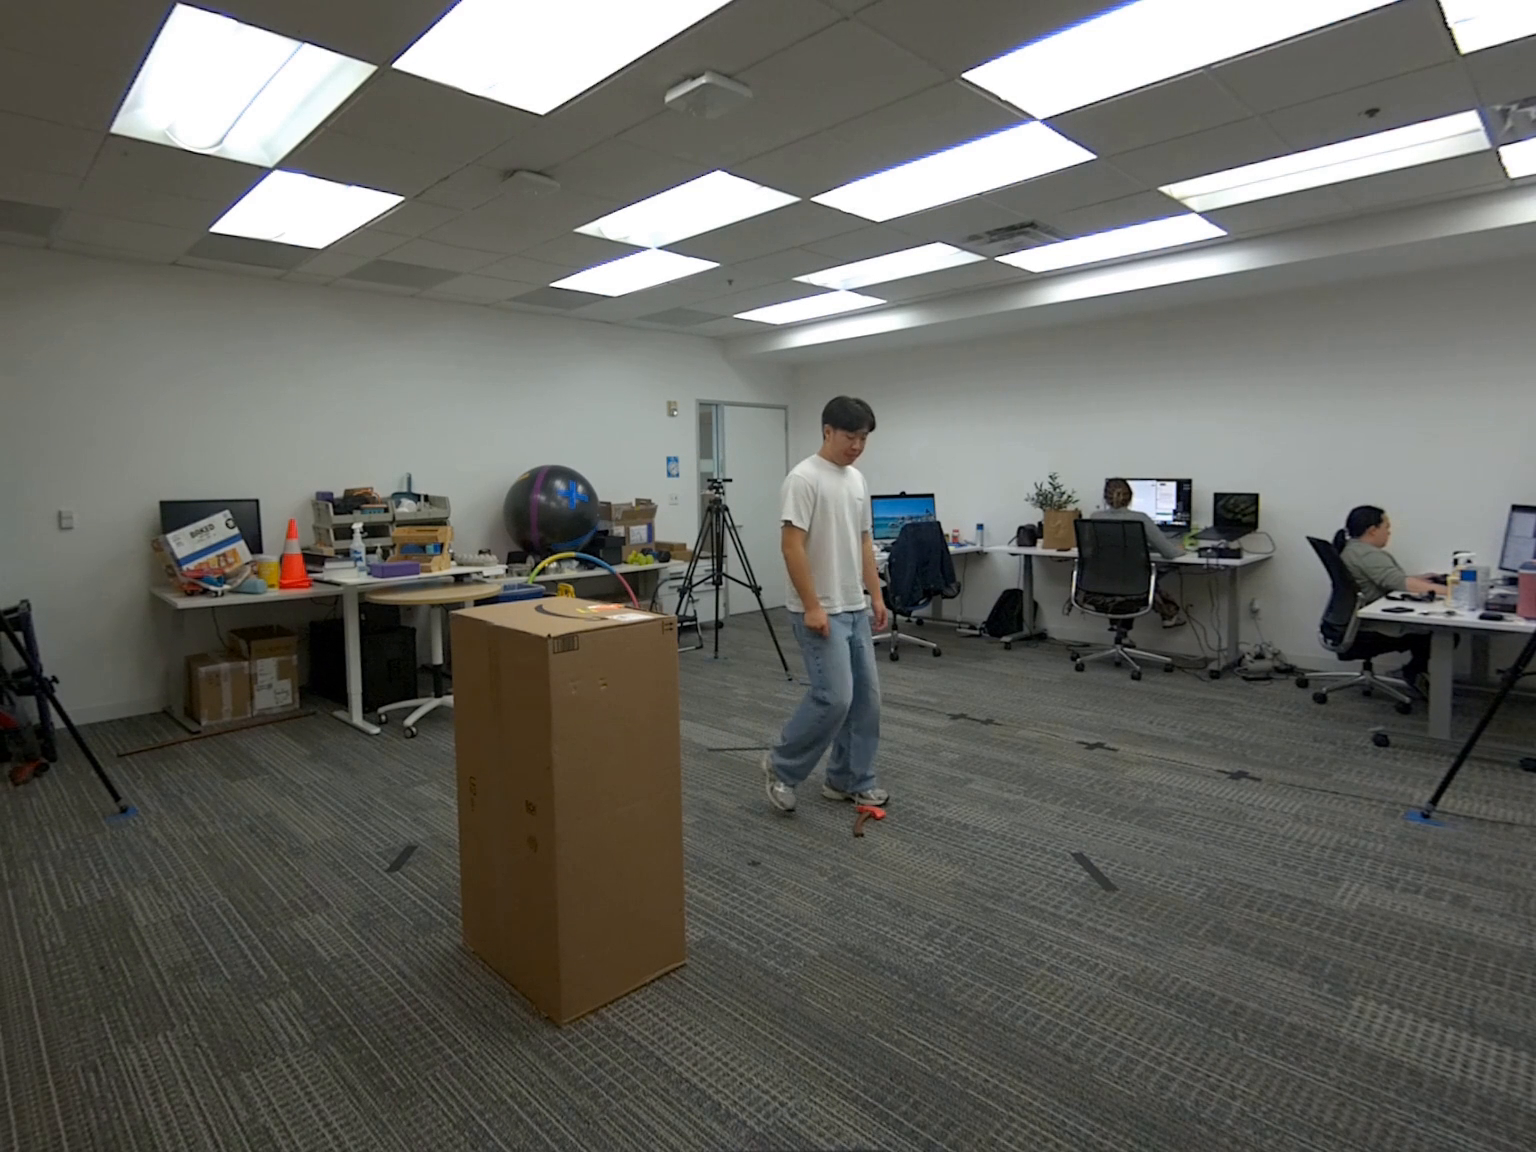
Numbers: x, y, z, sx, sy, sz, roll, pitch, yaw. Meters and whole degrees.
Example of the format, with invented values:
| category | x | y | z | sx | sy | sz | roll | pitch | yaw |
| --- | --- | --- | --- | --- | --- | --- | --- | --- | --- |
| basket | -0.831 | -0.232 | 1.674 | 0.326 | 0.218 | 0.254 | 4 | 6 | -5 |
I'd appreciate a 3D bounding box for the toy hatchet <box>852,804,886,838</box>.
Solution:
| category | x | y | z | sx | sy | sz | roll | pitch | yaw |
| --- | --- | --- | --- | --- | --- | --- | --- | --- | --- |
| toy hatchet | 0.414 | 0.993 | 3.438 | 0.132 | 0.029 | 0.269 | 0 | 8 | 7 |
